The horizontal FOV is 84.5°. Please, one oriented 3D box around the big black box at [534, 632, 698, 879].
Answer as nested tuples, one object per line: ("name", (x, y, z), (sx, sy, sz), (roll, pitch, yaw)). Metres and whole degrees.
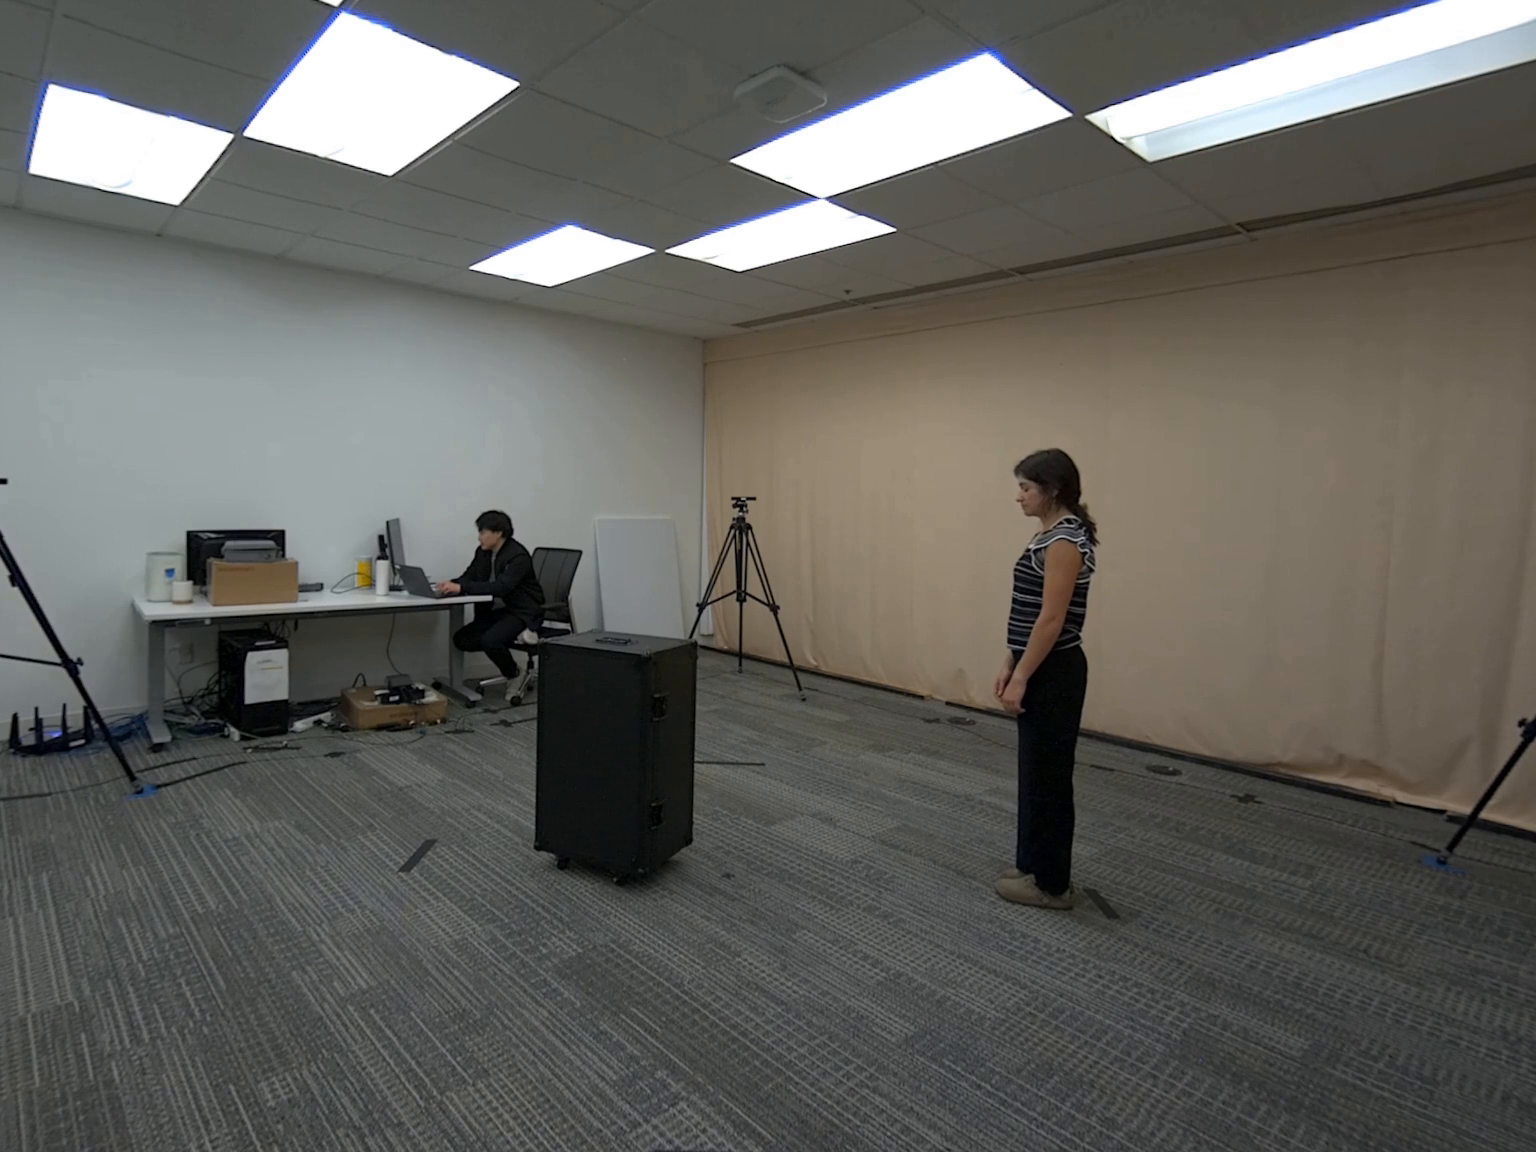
("big black box", (-0.573, 0.660, 3.169), (0.531, 0.860, 0.389), (3, 2, 25))
